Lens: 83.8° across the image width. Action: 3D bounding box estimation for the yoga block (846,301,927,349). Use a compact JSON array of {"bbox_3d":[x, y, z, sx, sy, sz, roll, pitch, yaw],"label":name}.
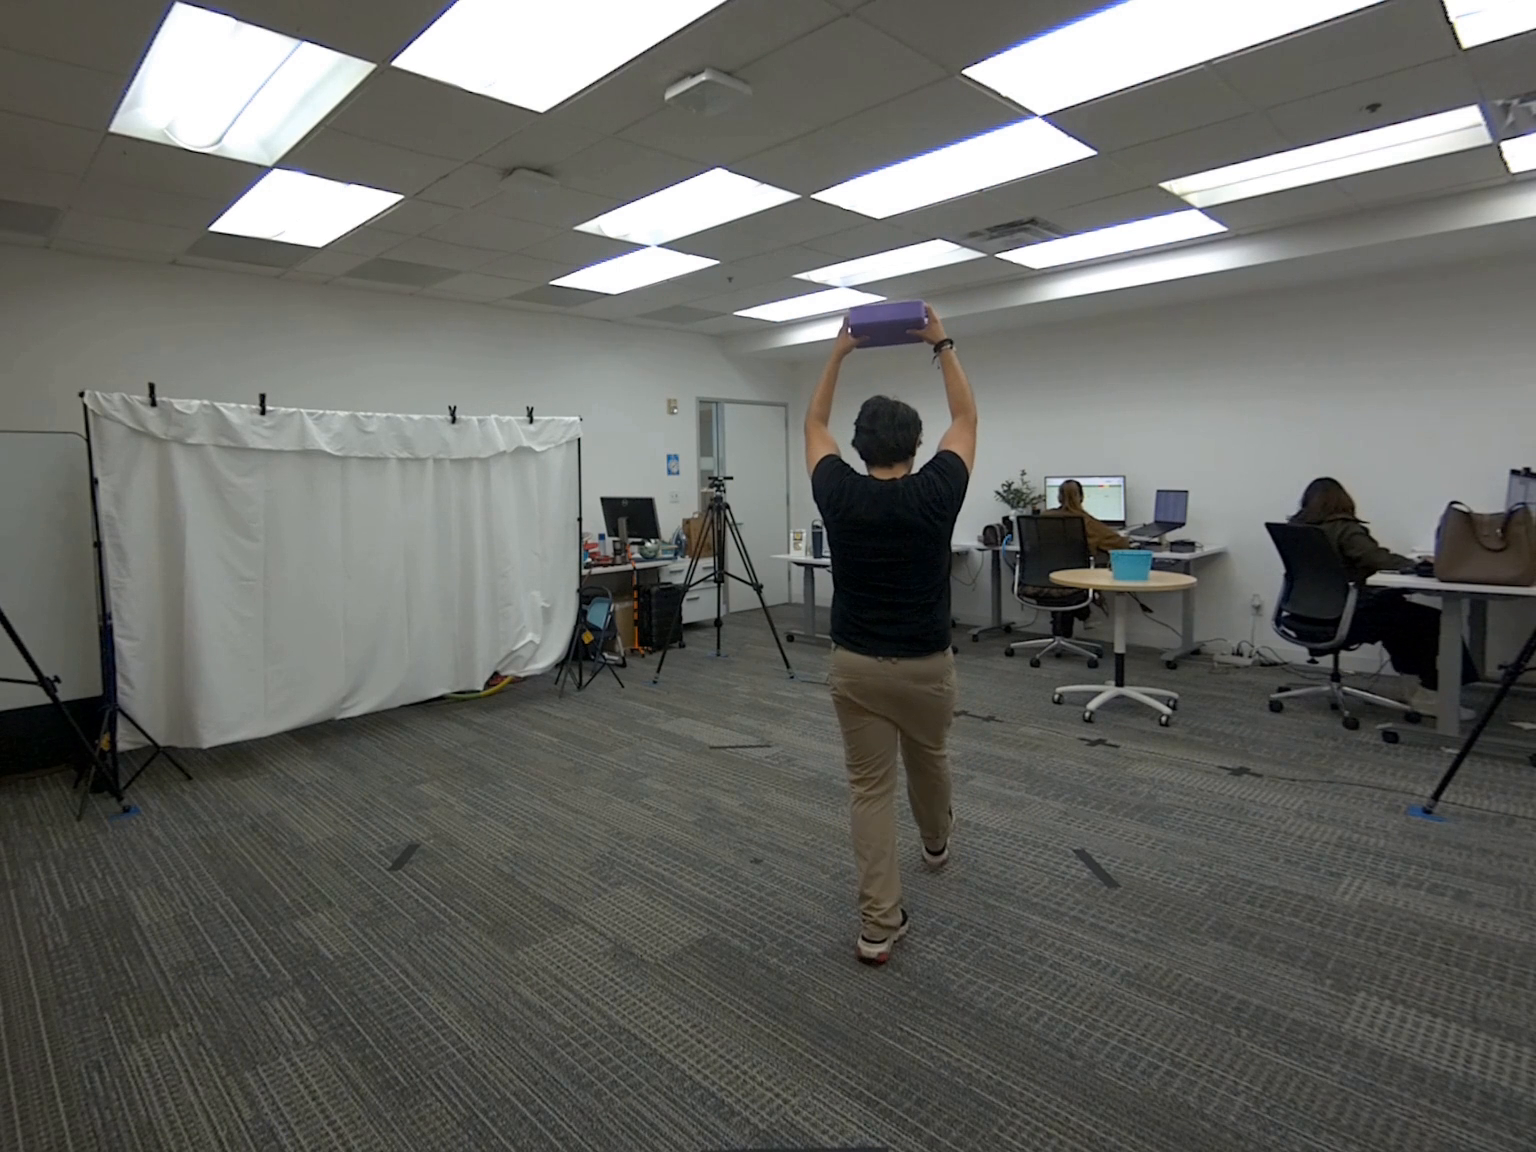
[{"bbox_3d":[0.389,-0.795,2.709,0.232,0.077,0.145,-3,-17,13],"label":"yoga block"}]
